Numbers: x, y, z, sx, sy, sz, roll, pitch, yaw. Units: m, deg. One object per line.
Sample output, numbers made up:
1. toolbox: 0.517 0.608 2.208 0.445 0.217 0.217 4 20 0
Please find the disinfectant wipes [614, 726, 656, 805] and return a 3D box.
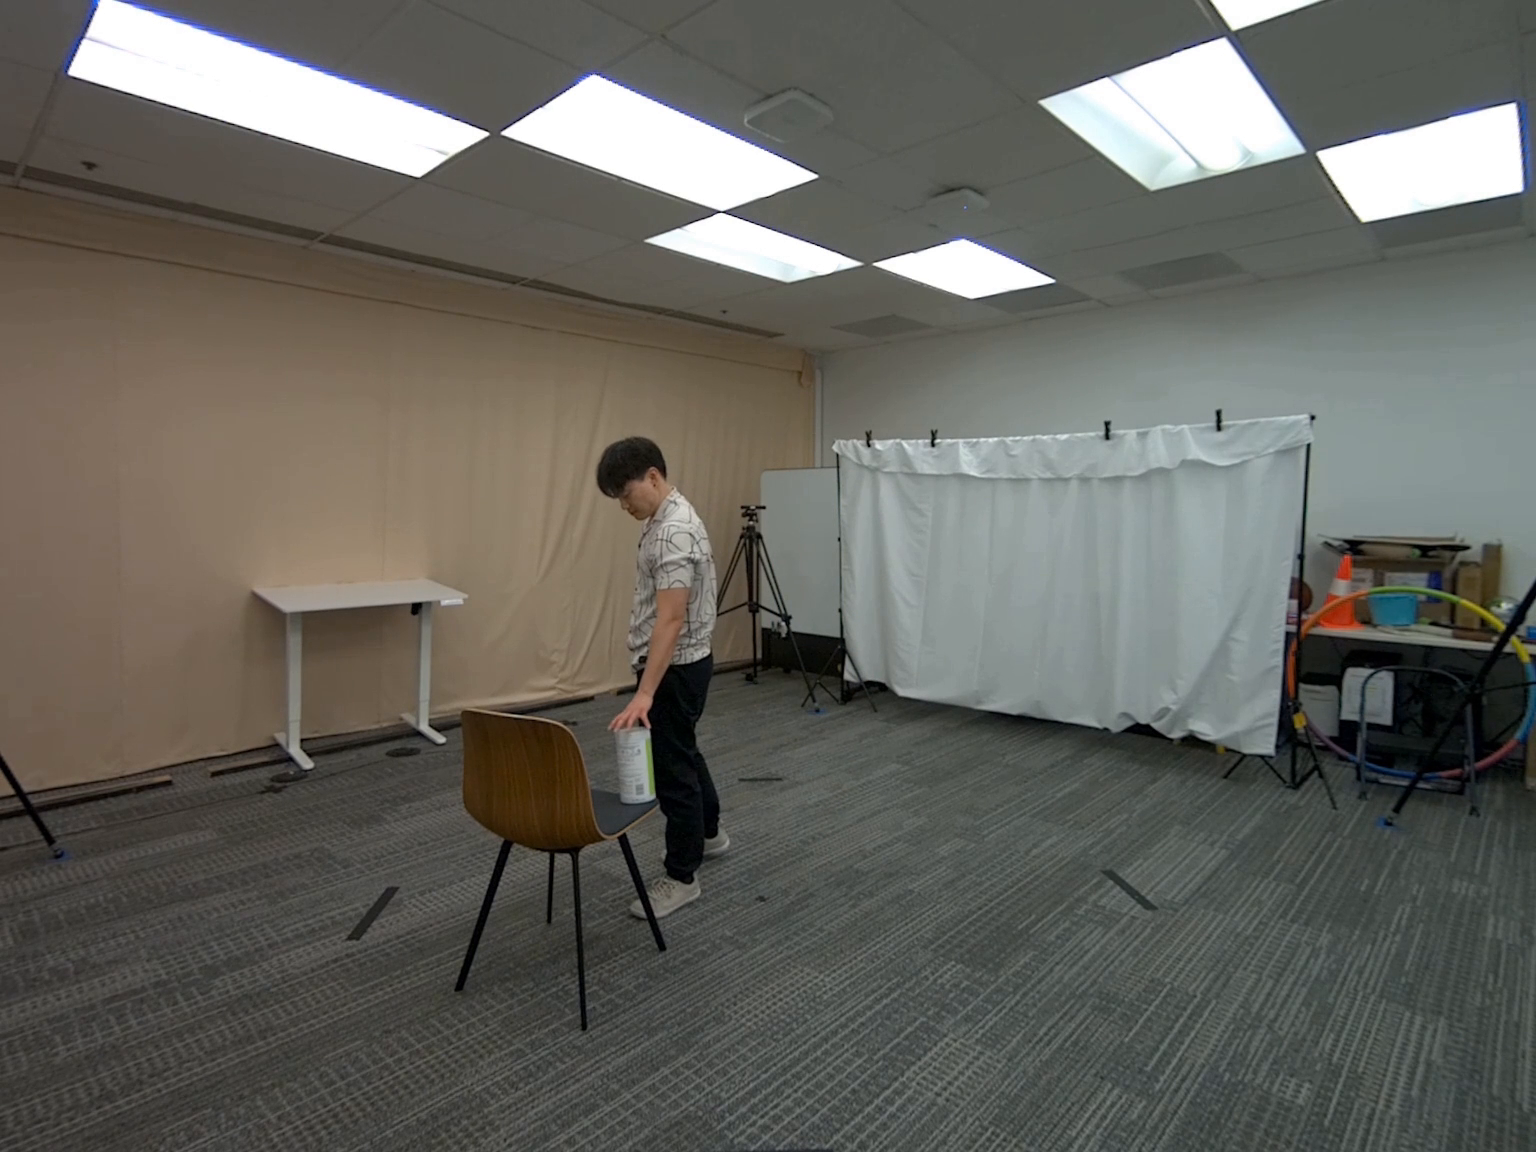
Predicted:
1. disinfectant wipes: -0.411 0.579 2.591 0.117 0.218 0.118 -3 -2 -2
